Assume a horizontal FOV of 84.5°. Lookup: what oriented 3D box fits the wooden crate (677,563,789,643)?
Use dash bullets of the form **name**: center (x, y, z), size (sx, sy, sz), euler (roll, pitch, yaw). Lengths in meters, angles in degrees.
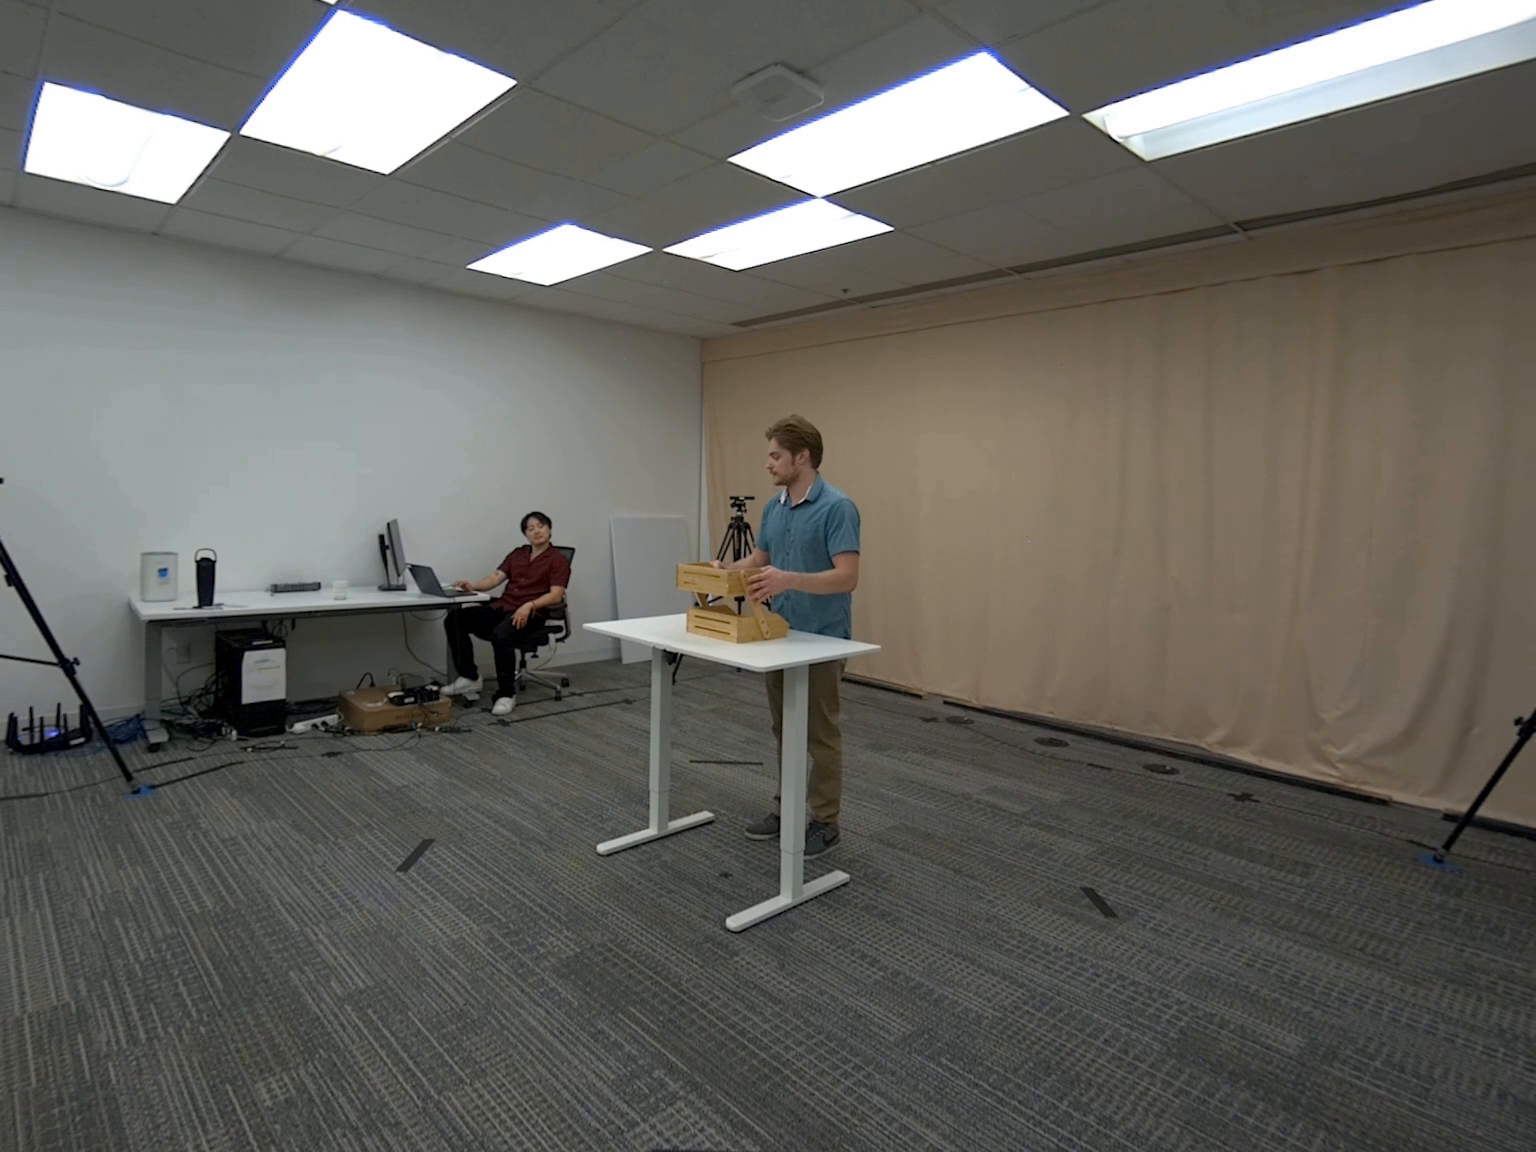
- **wooden crate**: center (-0.135, 0.089, 3.120), size (0.295, 0.272, 0.333), euler (-4, 7, -43)
